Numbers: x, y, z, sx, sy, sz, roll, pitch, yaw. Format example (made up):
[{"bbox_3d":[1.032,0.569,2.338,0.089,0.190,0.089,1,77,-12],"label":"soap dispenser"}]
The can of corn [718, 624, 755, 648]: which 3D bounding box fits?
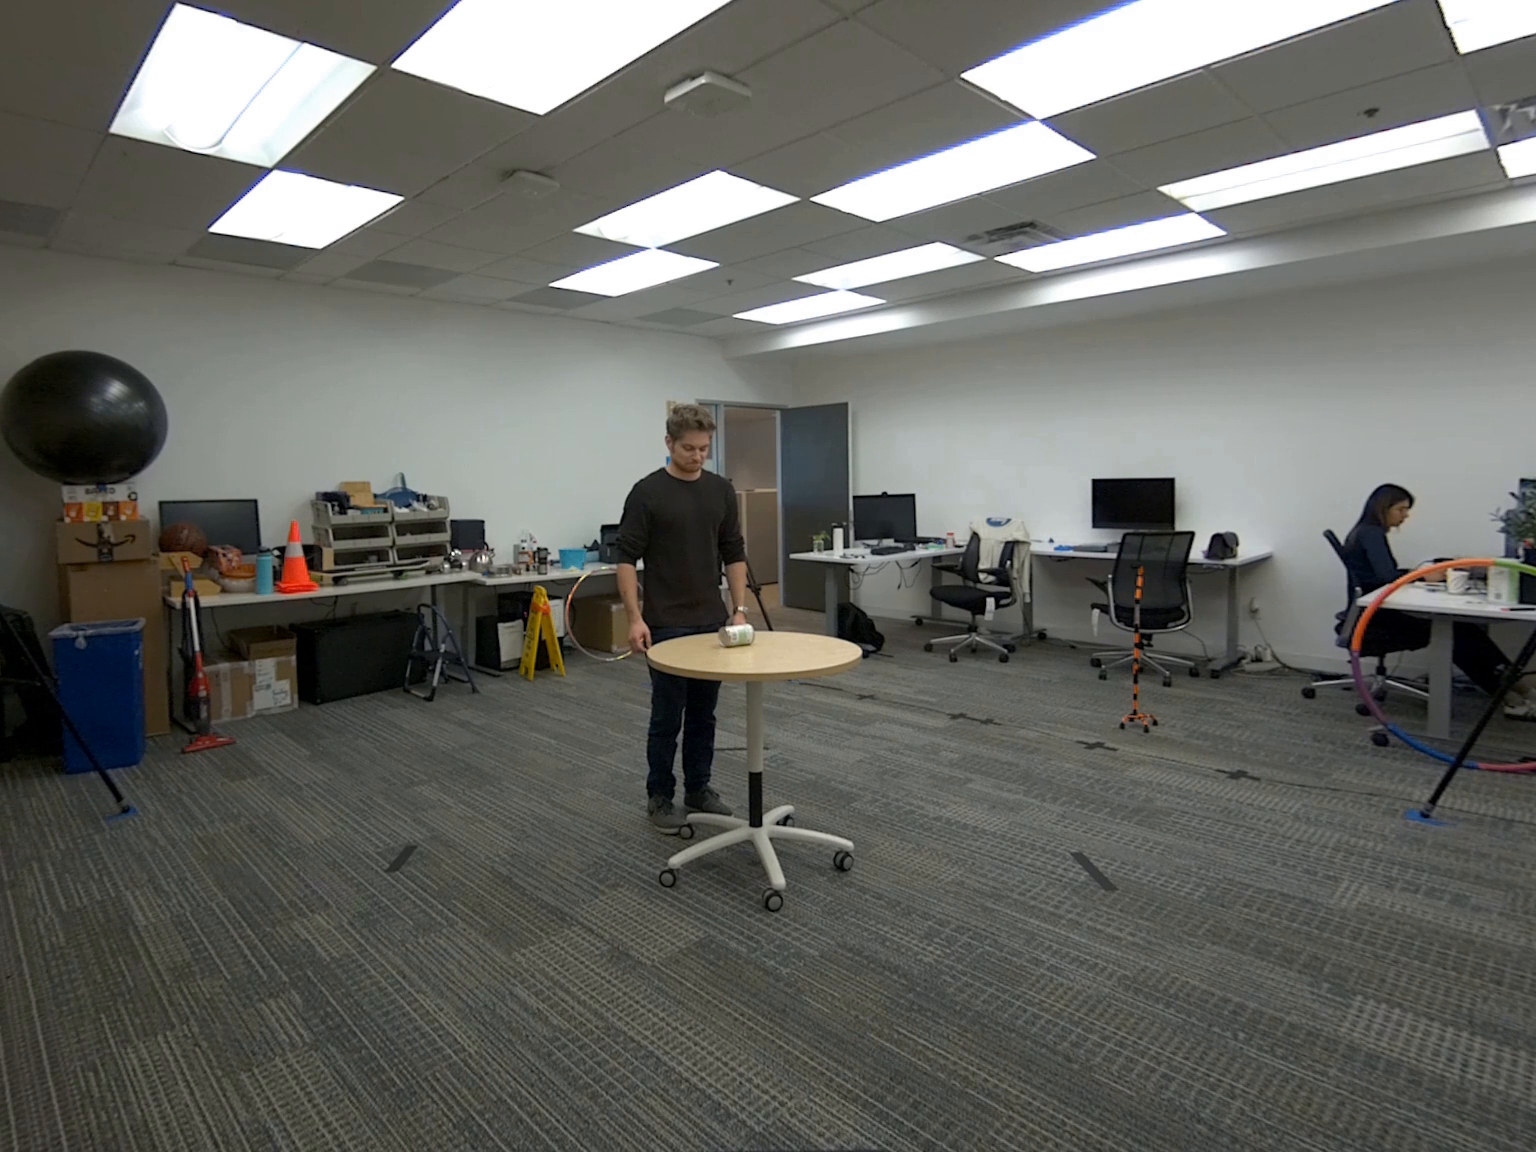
[{"bbox_3d":[-0.112,0.218,3.139,0.108,0.074,0.076,-4,6,-29],"label":"can of corn"}]
